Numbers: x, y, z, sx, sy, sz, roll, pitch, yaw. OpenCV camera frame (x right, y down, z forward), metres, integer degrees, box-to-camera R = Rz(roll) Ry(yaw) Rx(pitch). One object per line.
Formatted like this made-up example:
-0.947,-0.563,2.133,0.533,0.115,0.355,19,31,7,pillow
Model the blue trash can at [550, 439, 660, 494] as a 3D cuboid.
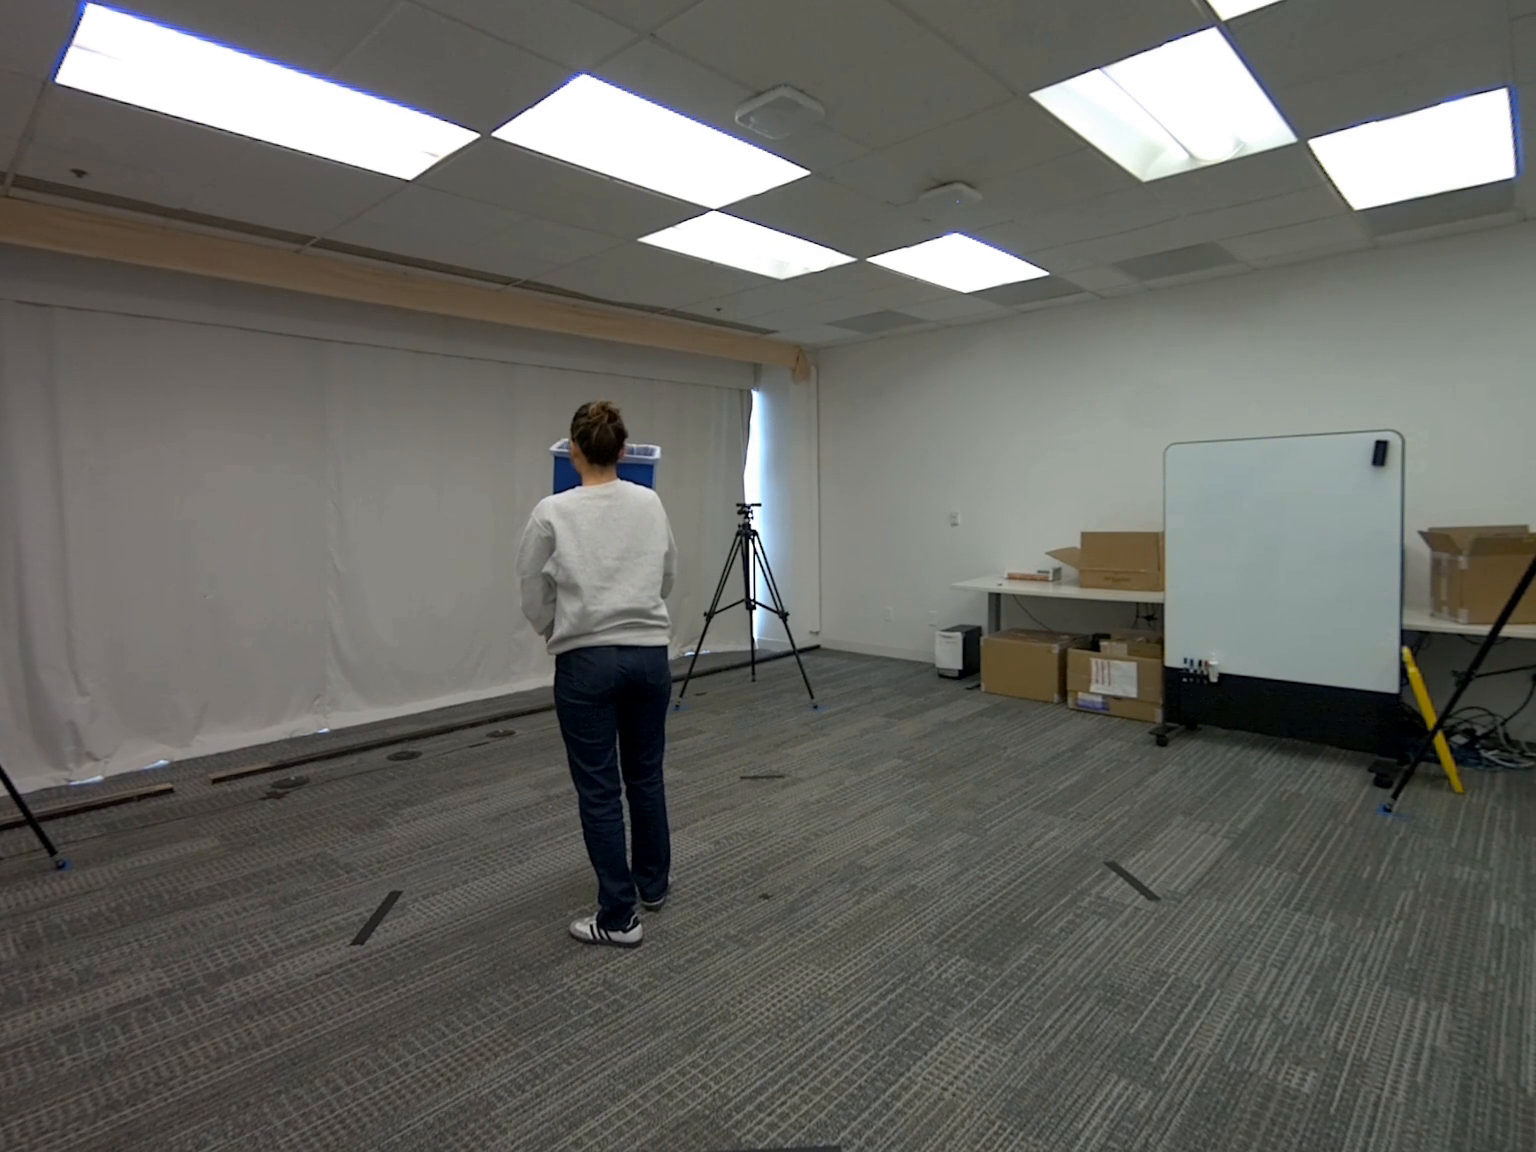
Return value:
-0.603,-0.120,3.025,0.376,0.709,0.378,5,12,-4,blue trash can
